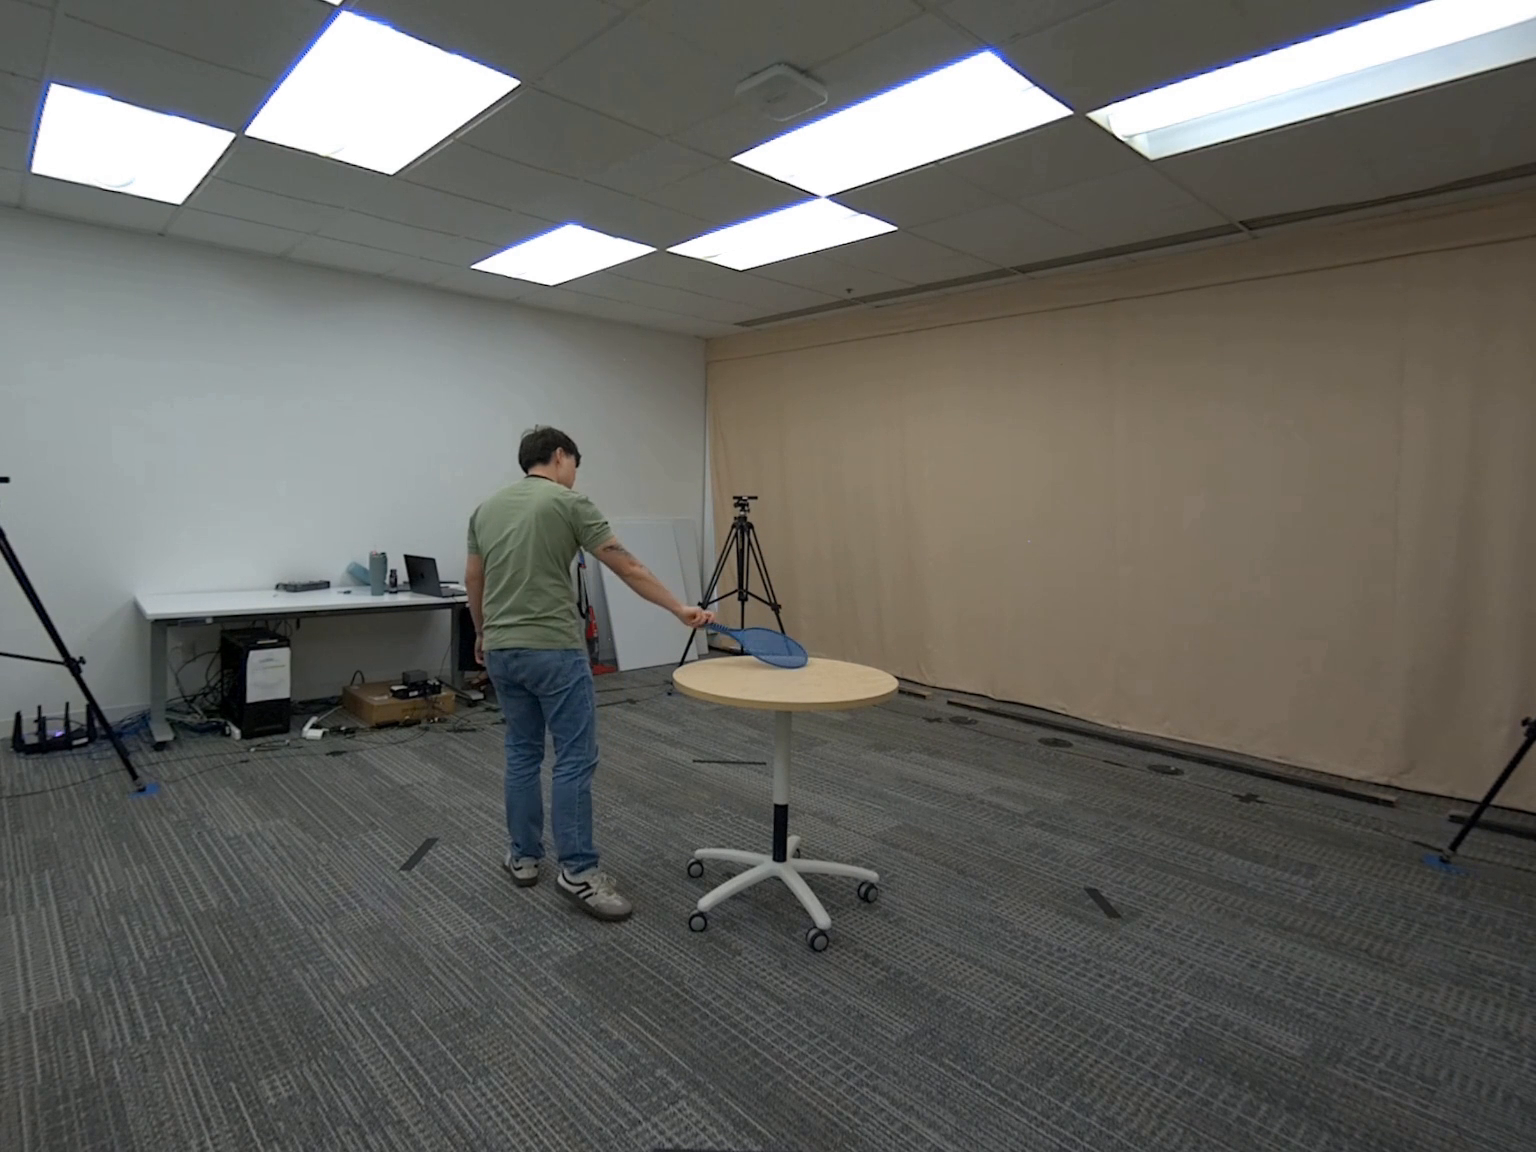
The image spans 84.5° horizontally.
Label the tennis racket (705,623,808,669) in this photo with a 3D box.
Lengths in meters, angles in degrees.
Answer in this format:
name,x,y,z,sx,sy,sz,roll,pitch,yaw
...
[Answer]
name,x,y,z,sx,sy,sz,roll,pitch,yaw
tennis racket,-0.075,0.238,3.069,0.432,0.031,0.216,19,25,-3
